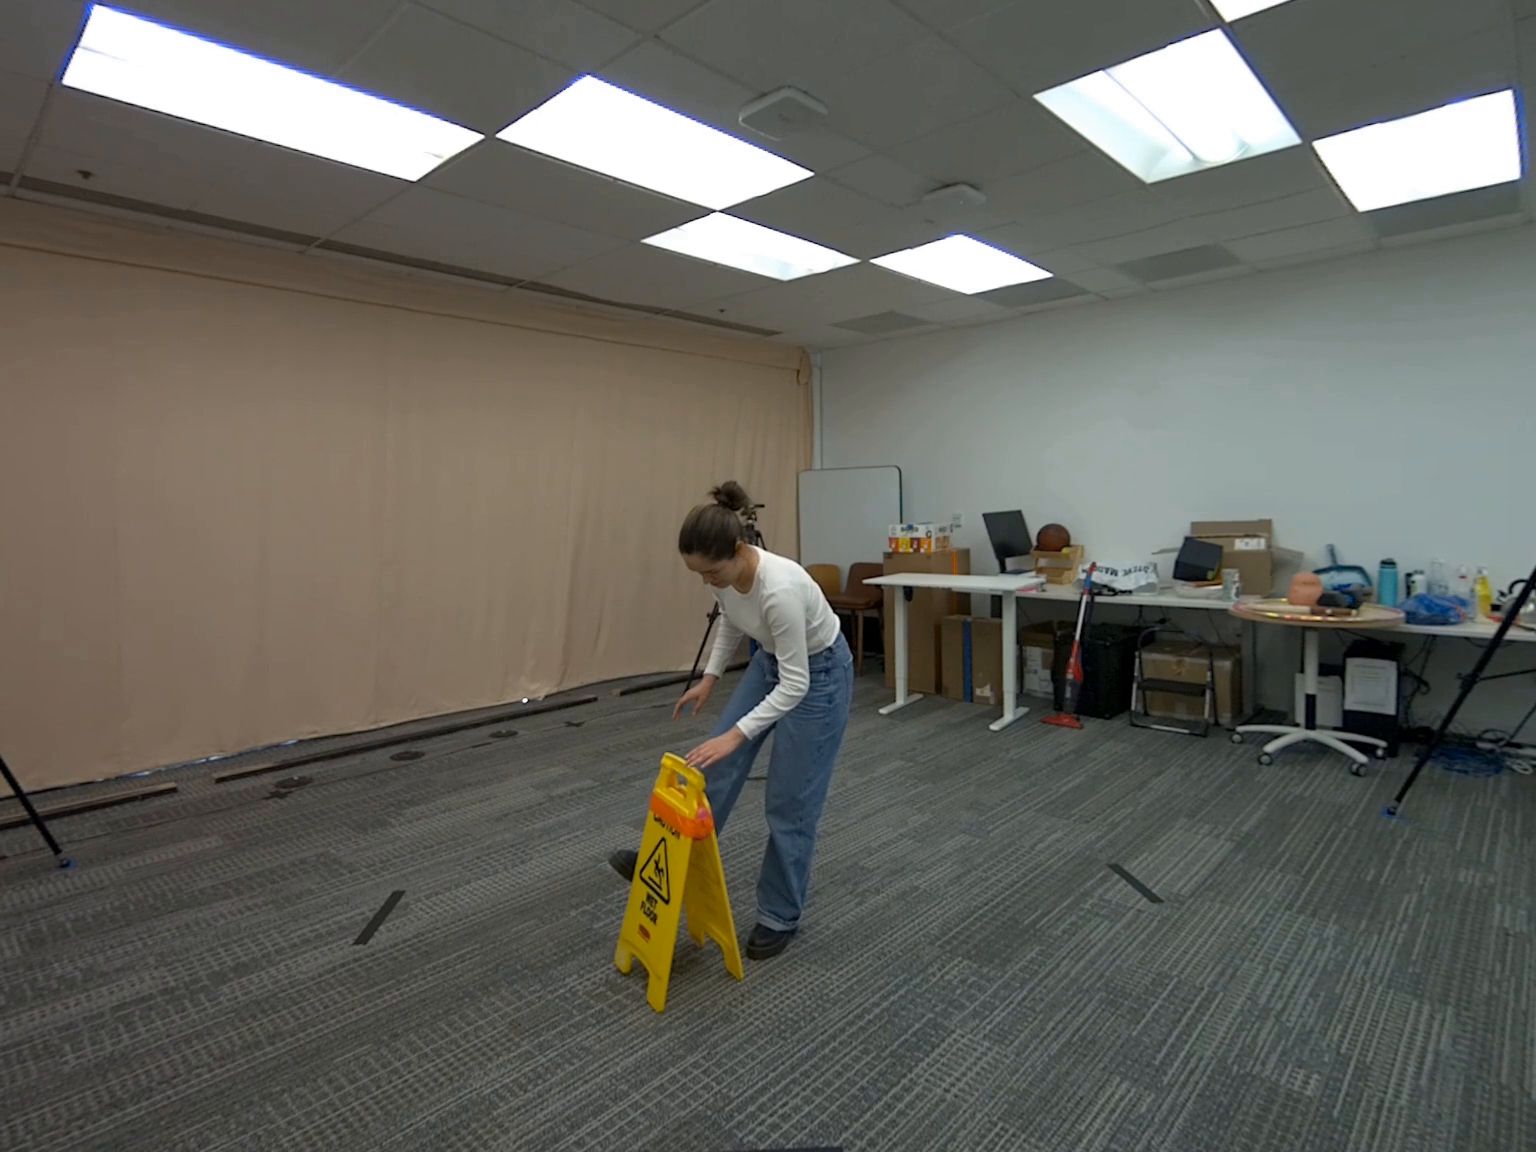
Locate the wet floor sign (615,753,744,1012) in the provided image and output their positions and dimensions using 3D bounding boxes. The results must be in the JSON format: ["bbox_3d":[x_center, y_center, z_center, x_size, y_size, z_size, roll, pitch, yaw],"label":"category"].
[{"bbox_3d":[-0.252,0.859,2.459,0.281,0.643,0.292,-3,10,-36],"label":"wet floor sign"}]
